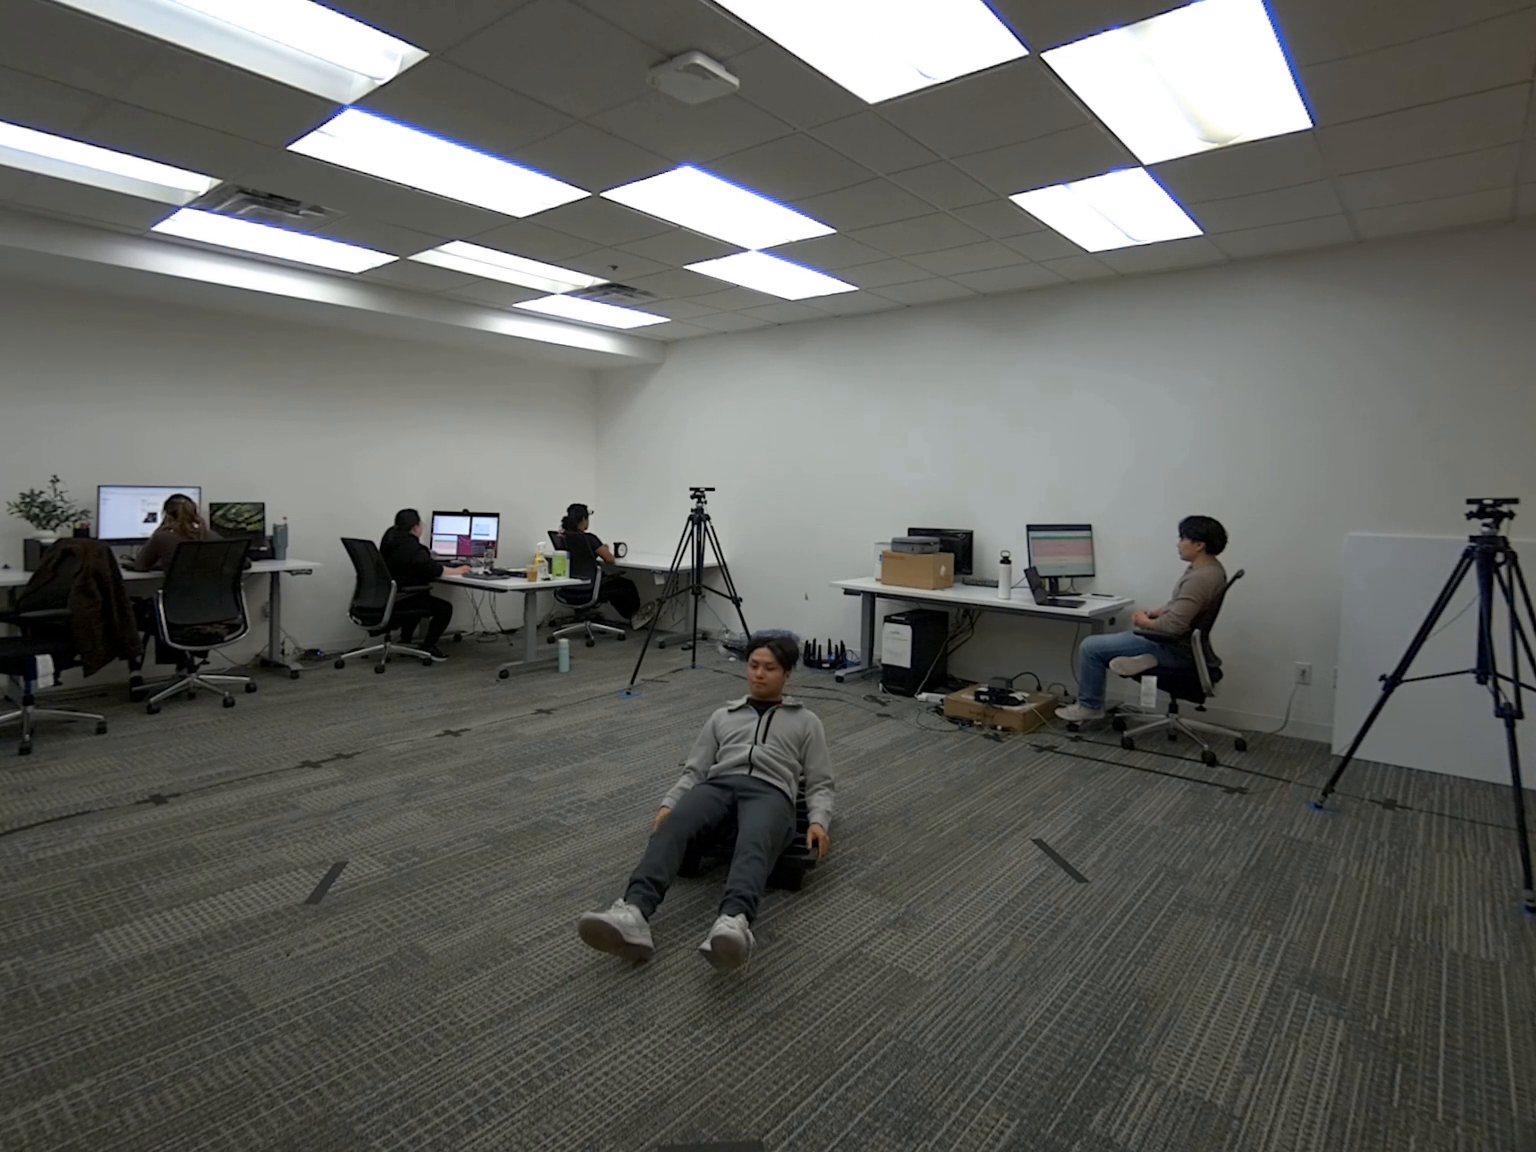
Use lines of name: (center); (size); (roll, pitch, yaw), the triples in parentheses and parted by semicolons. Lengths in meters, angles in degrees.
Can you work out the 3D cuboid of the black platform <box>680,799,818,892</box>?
black platform: (-0.080, 0.974, 3.343); (0.613, 0.143, 0.798); (1, 6, 11)
